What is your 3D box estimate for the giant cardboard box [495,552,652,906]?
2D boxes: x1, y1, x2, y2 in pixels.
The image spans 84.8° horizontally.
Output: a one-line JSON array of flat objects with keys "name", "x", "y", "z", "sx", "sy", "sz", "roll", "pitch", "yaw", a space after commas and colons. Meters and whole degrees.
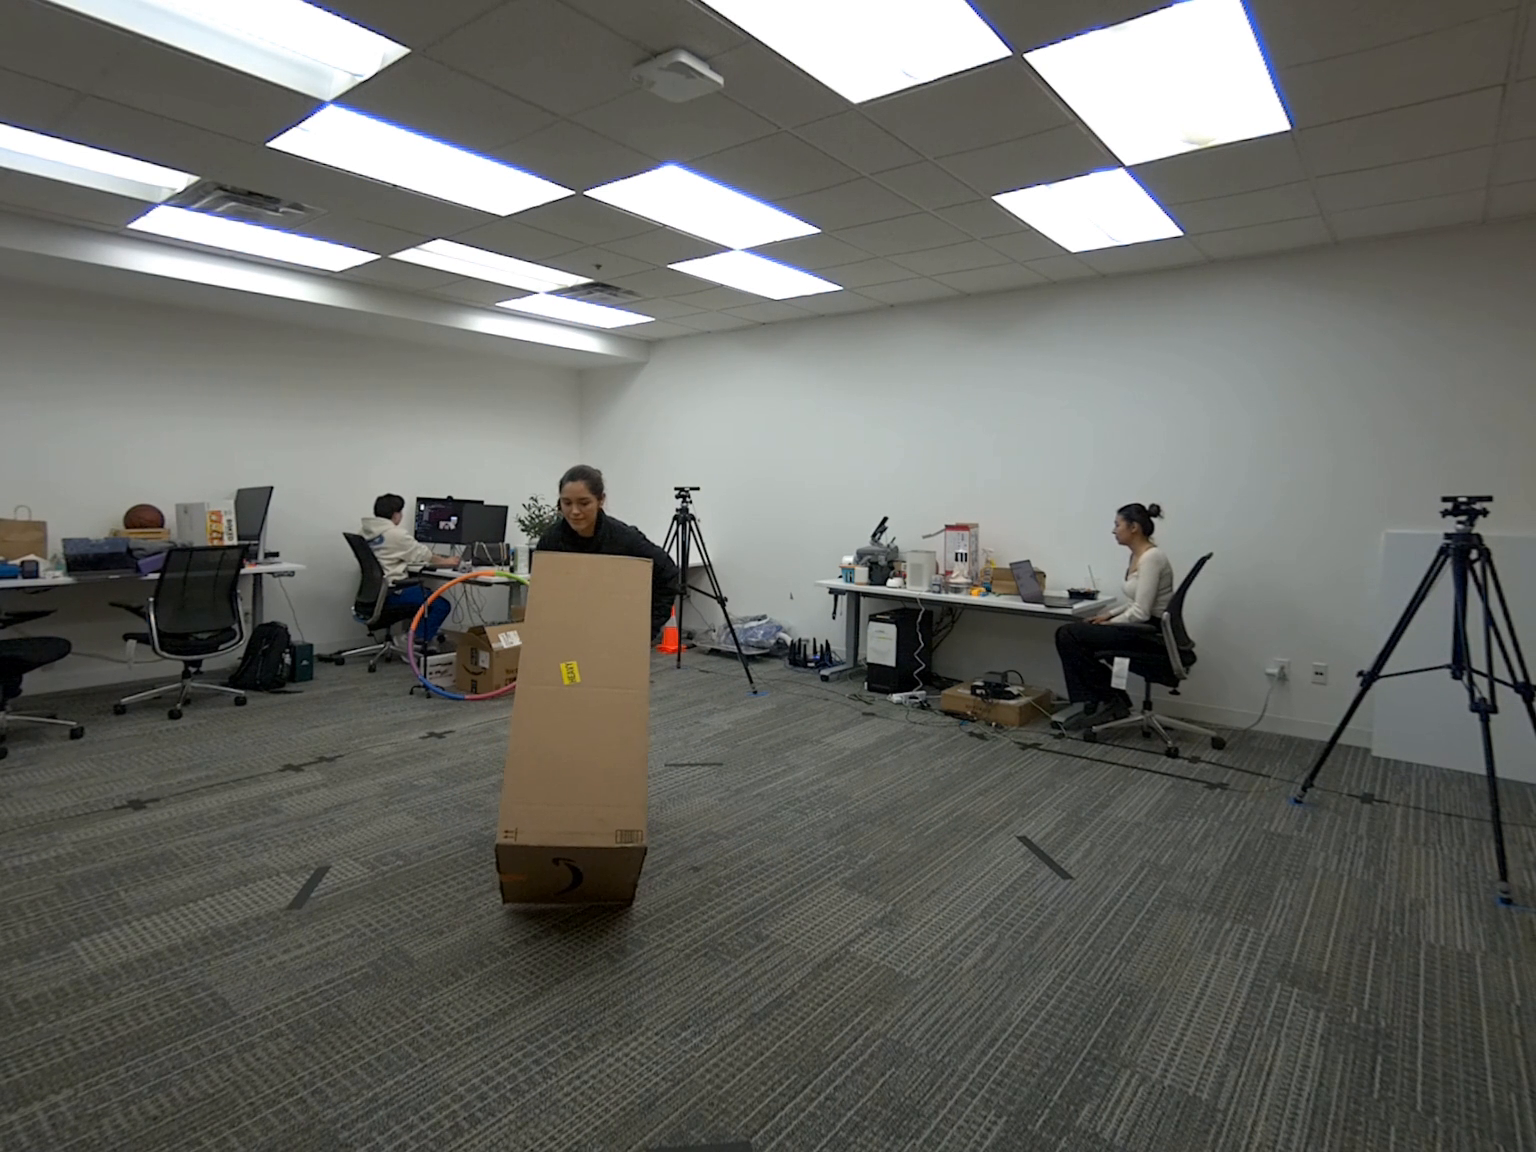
[{"name": "giant cardboard box", "x": -0.631, "y": 0.507, "z": 2.916, "sx": 0.443, "sy": 1.057, "sz": 0.572, "roll": 2, "pitch": -37, "yaw": -9}]
